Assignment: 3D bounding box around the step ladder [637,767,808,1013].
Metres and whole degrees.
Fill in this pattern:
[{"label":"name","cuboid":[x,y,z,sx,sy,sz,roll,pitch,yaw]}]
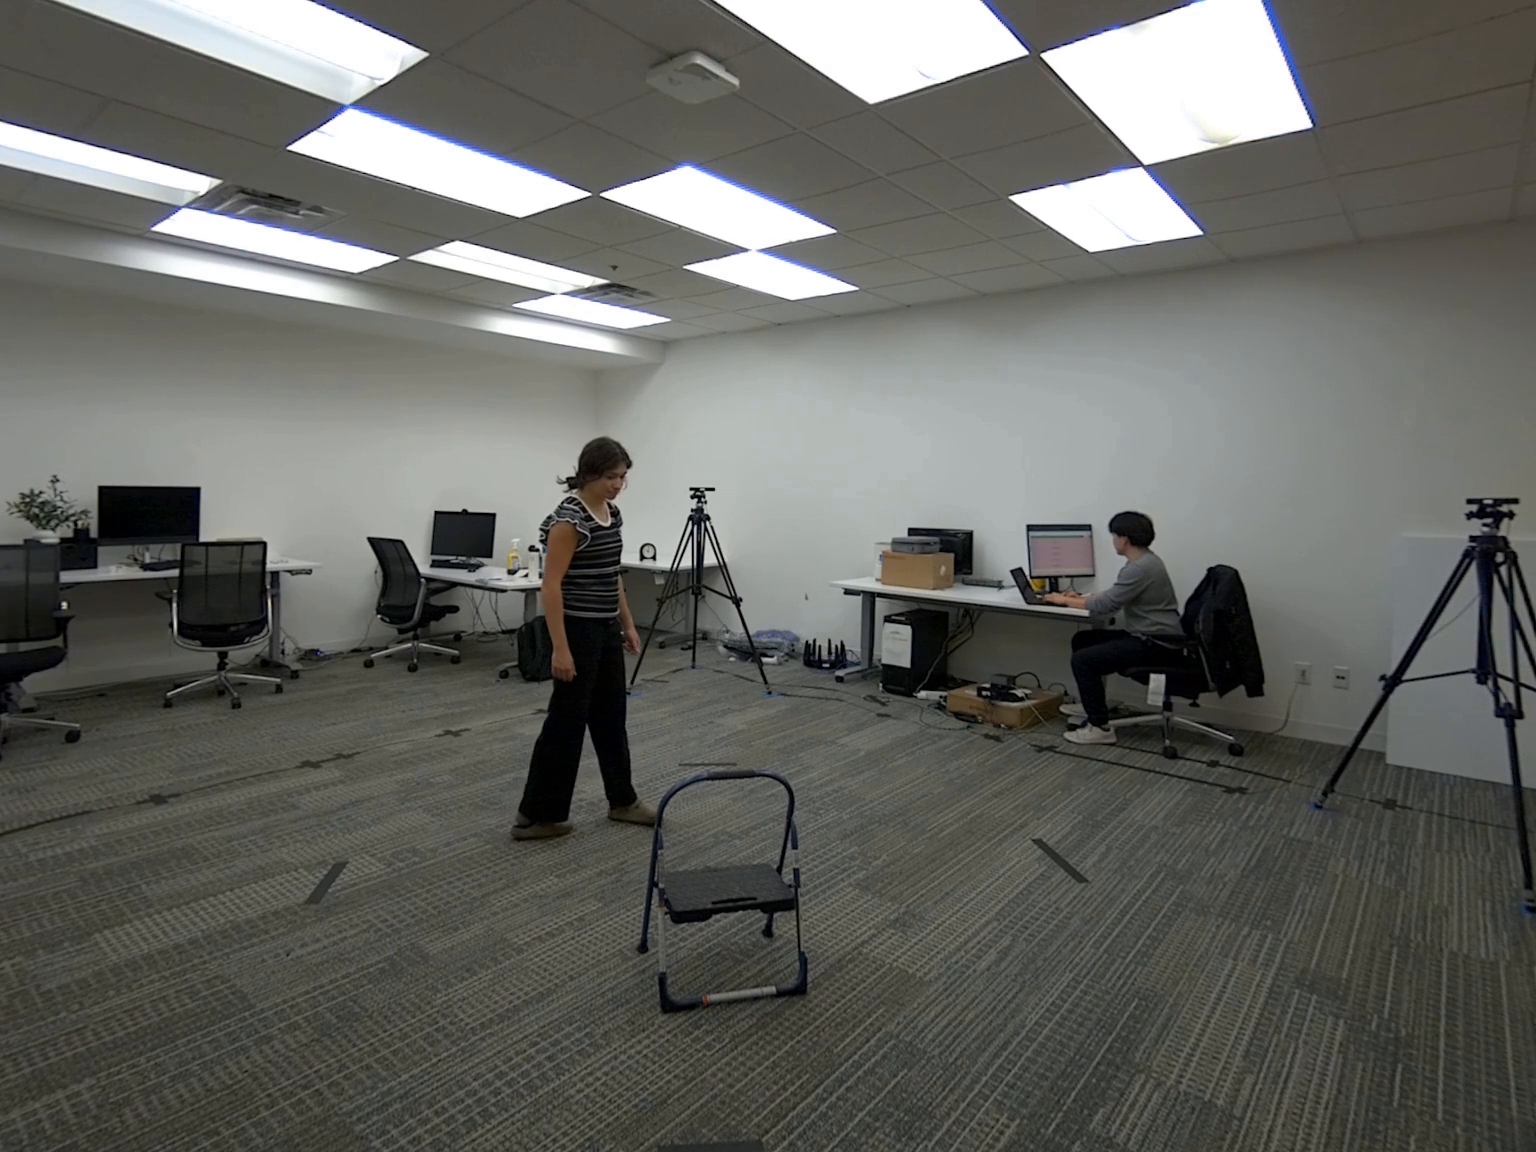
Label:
[{"label":"step ladder","cuboid":[-0.141,0.835,2.440,0.423,0.604,0.356,0,3,-17]}]
